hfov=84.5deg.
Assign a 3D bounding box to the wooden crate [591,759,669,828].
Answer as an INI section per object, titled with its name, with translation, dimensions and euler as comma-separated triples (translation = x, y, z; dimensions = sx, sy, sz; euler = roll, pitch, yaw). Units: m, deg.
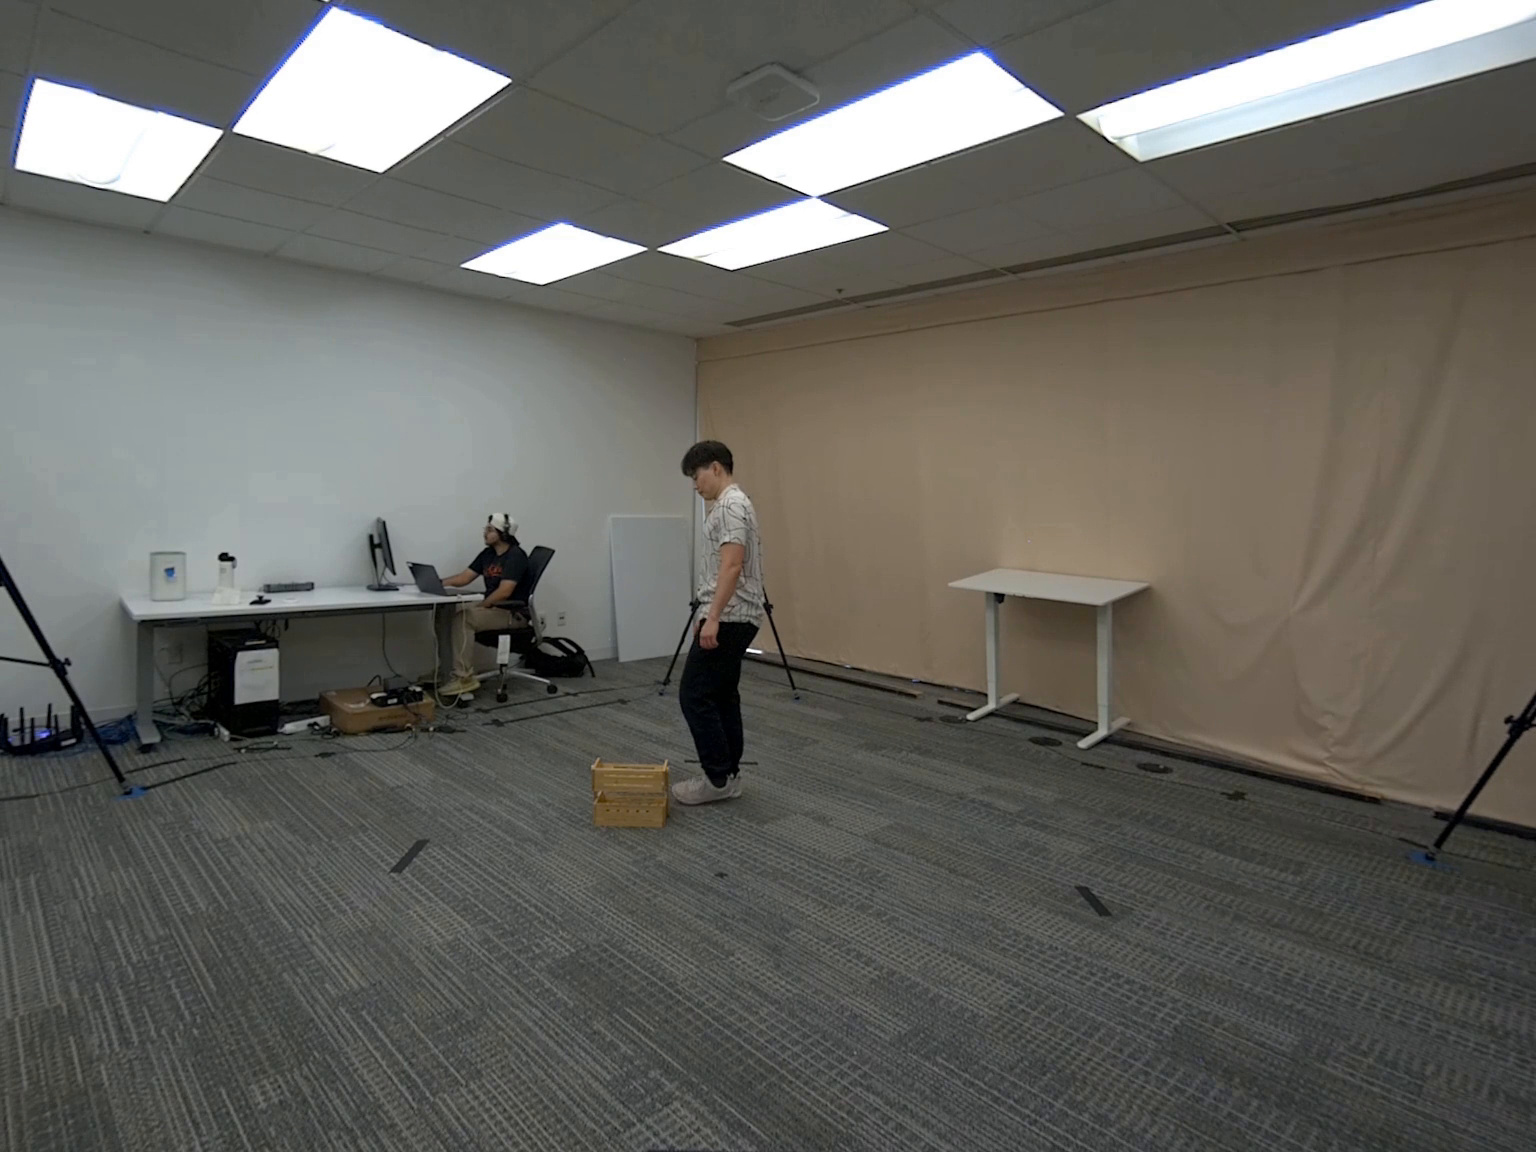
[wooden crate]
translation = -0.598, 0.913, 3.638
dimensions = 0.324, 0.273, 0.303
euler = 1, 4, -3
